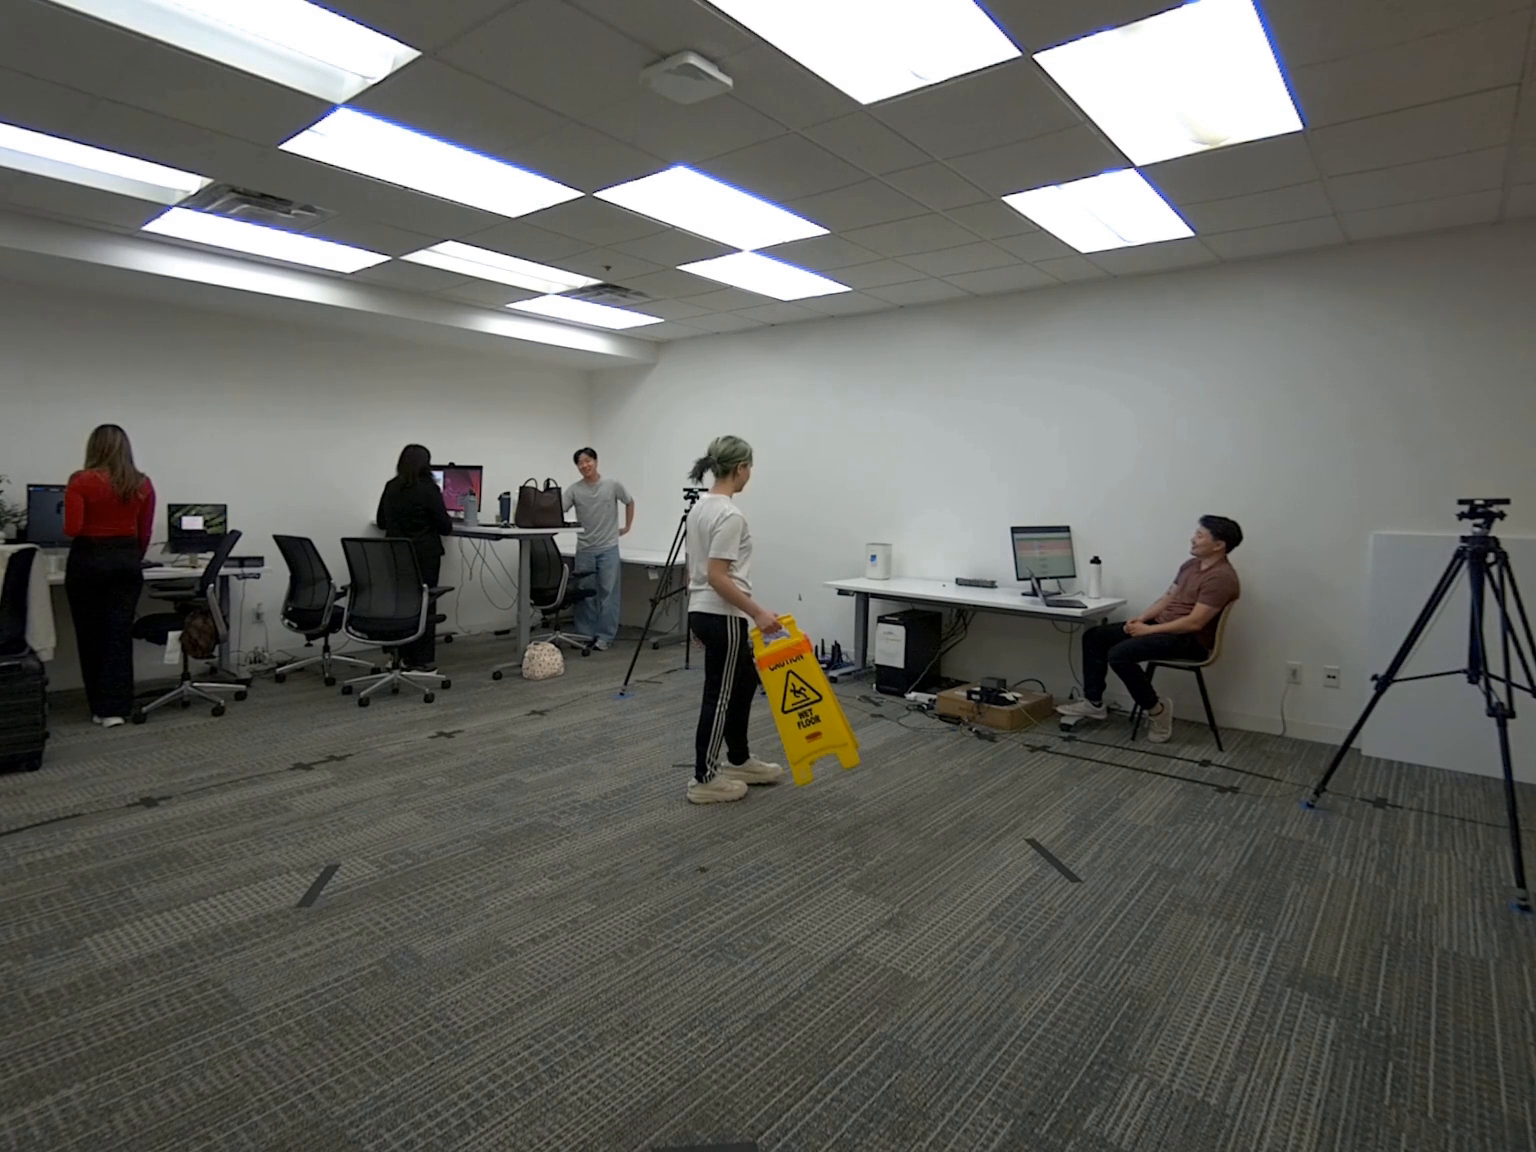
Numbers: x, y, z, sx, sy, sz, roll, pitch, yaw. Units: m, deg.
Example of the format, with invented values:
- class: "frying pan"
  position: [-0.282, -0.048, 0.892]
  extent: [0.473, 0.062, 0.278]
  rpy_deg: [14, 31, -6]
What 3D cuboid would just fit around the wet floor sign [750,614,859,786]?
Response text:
- class: "wet floor sign"
  position: [0.117, 0.492, 3.566]
  extent: [0.284, 0.647, 0.288]
  rpy_deg: [-21, -1, 7]
